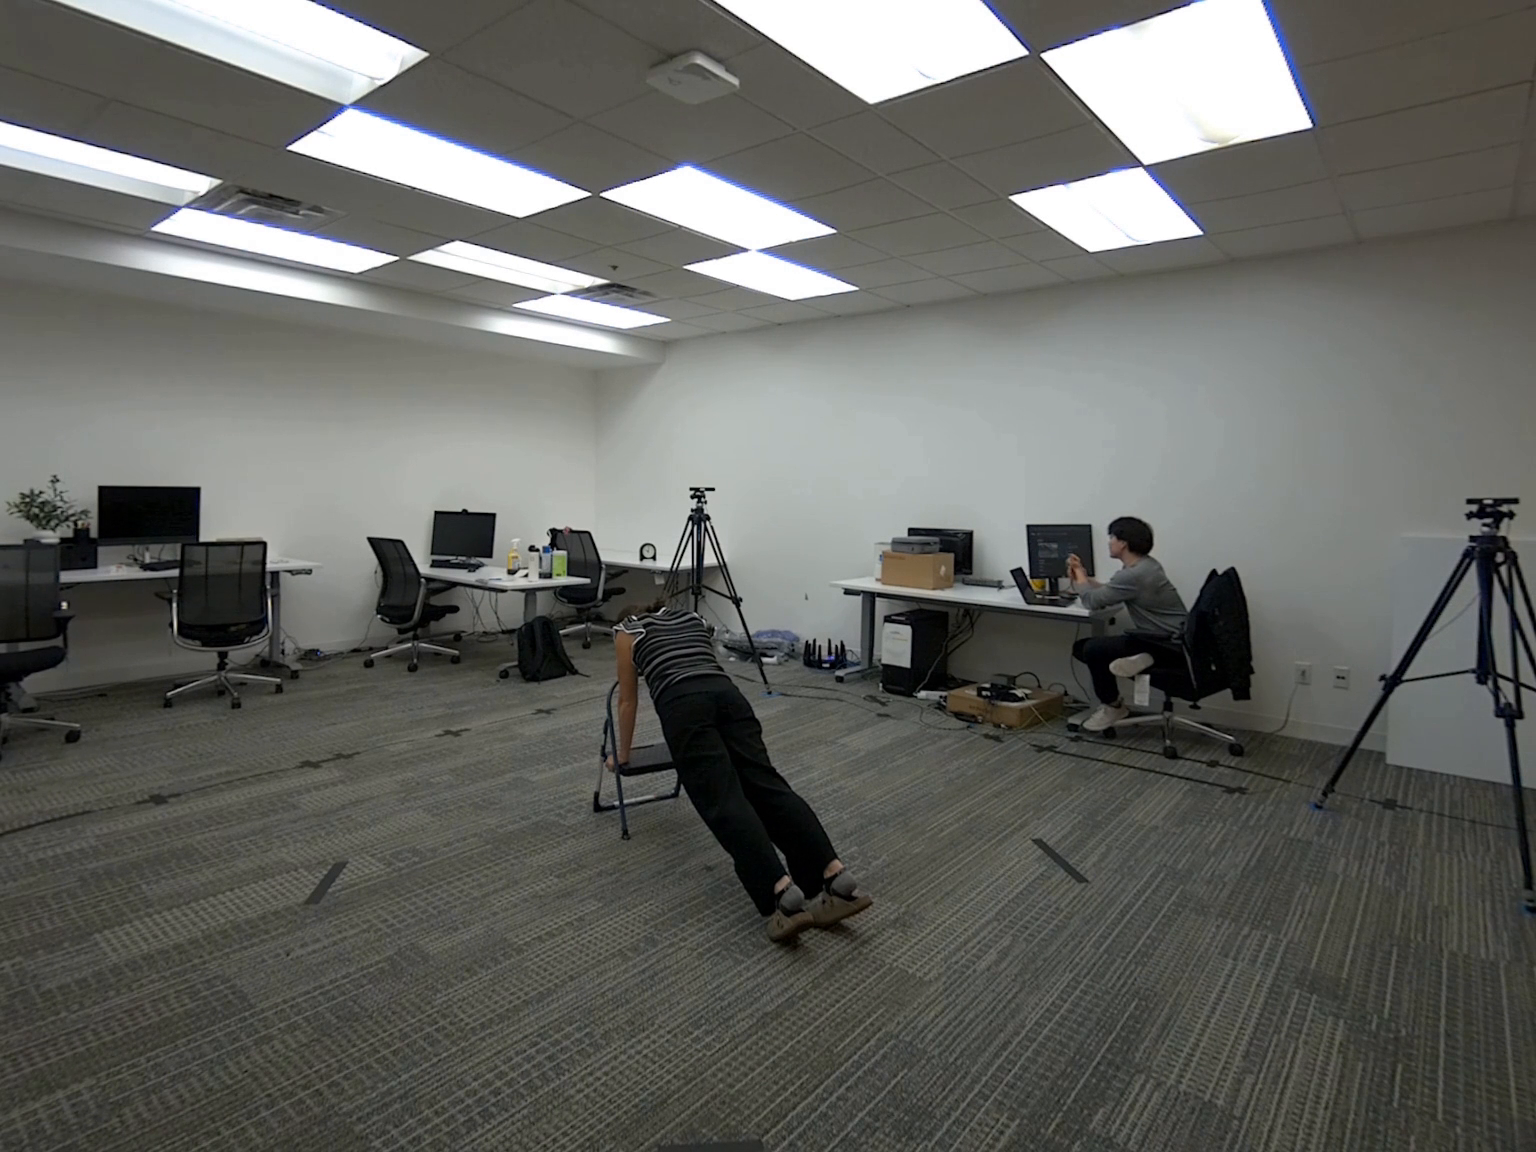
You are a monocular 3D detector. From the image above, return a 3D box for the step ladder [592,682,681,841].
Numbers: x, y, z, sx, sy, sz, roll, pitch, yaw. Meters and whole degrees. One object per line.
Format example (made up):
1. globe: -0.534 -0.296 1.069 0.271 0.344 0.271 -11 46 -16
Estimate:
1. step ladder: -0.496 0.714 3.593 0.418 0.605 0.360 -1 3 -33
